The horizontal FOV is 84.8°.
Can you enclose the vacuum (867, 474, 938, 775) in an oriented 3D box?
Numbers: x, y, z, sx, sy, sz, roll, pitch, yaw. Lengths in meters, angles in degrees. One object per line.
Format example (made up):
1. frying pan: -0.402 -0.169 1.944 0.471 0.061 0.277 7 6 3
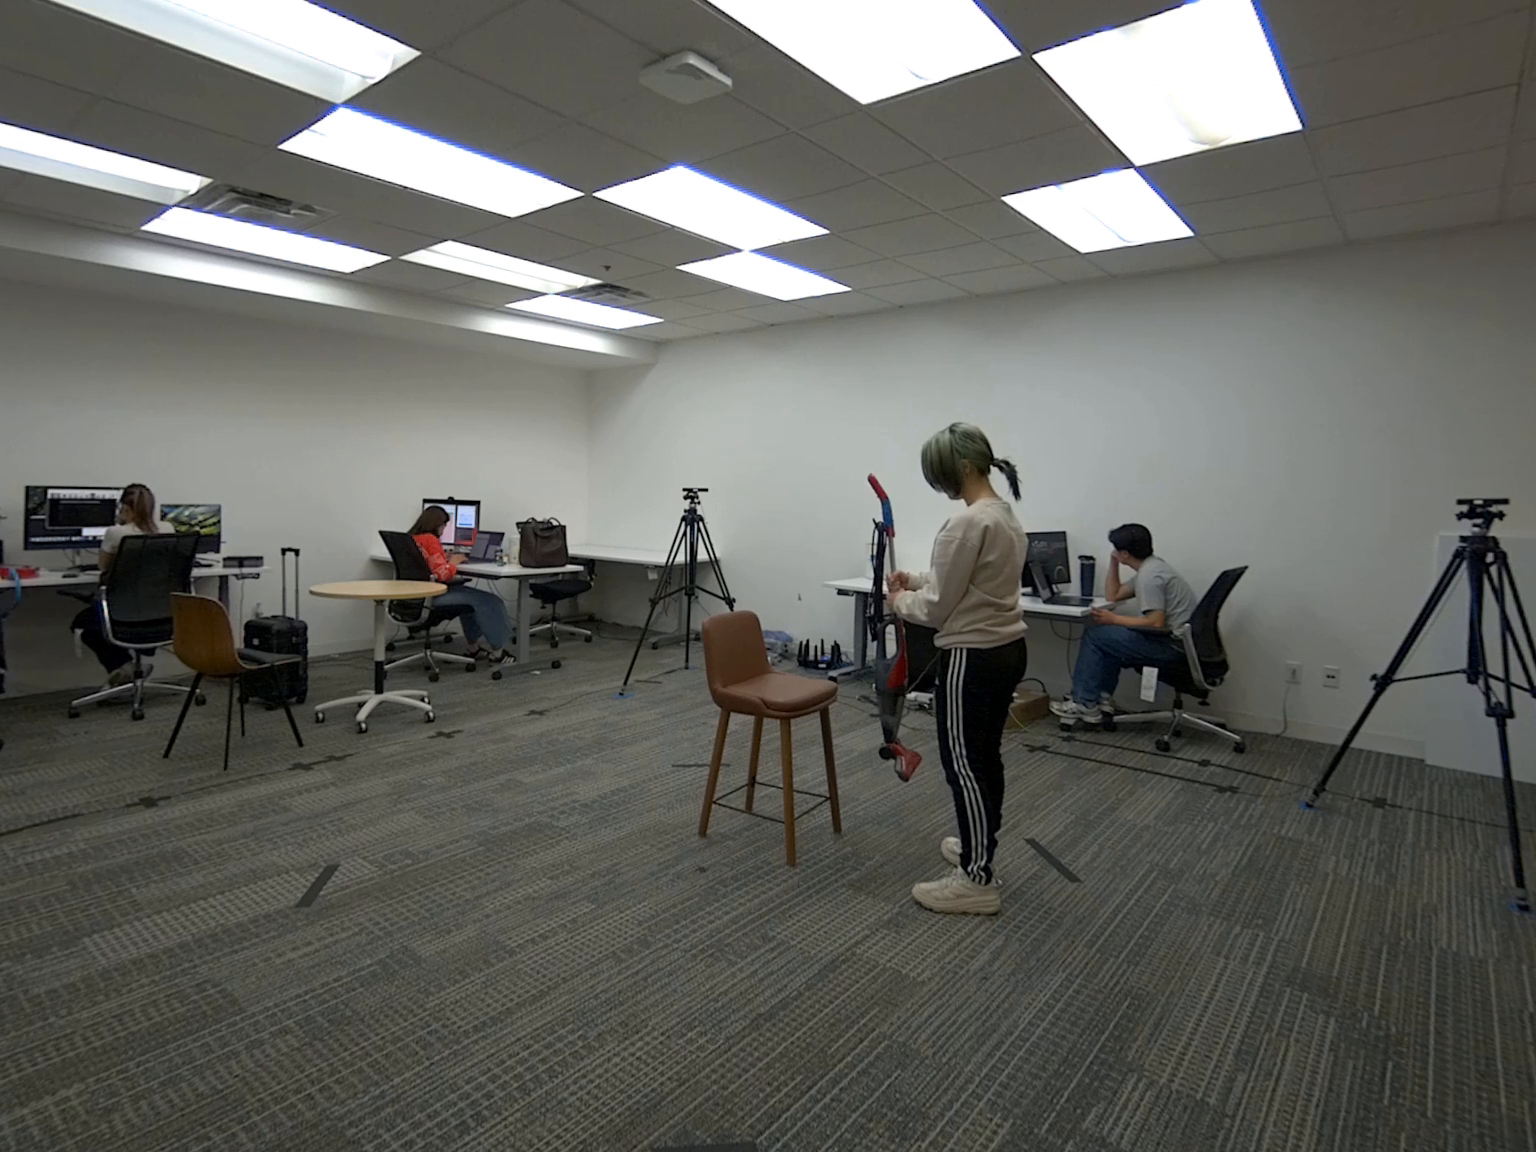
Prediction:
1. vacuum: 0.430 0.150 3.150 0.148 1.049 0.246 -7 0 33
